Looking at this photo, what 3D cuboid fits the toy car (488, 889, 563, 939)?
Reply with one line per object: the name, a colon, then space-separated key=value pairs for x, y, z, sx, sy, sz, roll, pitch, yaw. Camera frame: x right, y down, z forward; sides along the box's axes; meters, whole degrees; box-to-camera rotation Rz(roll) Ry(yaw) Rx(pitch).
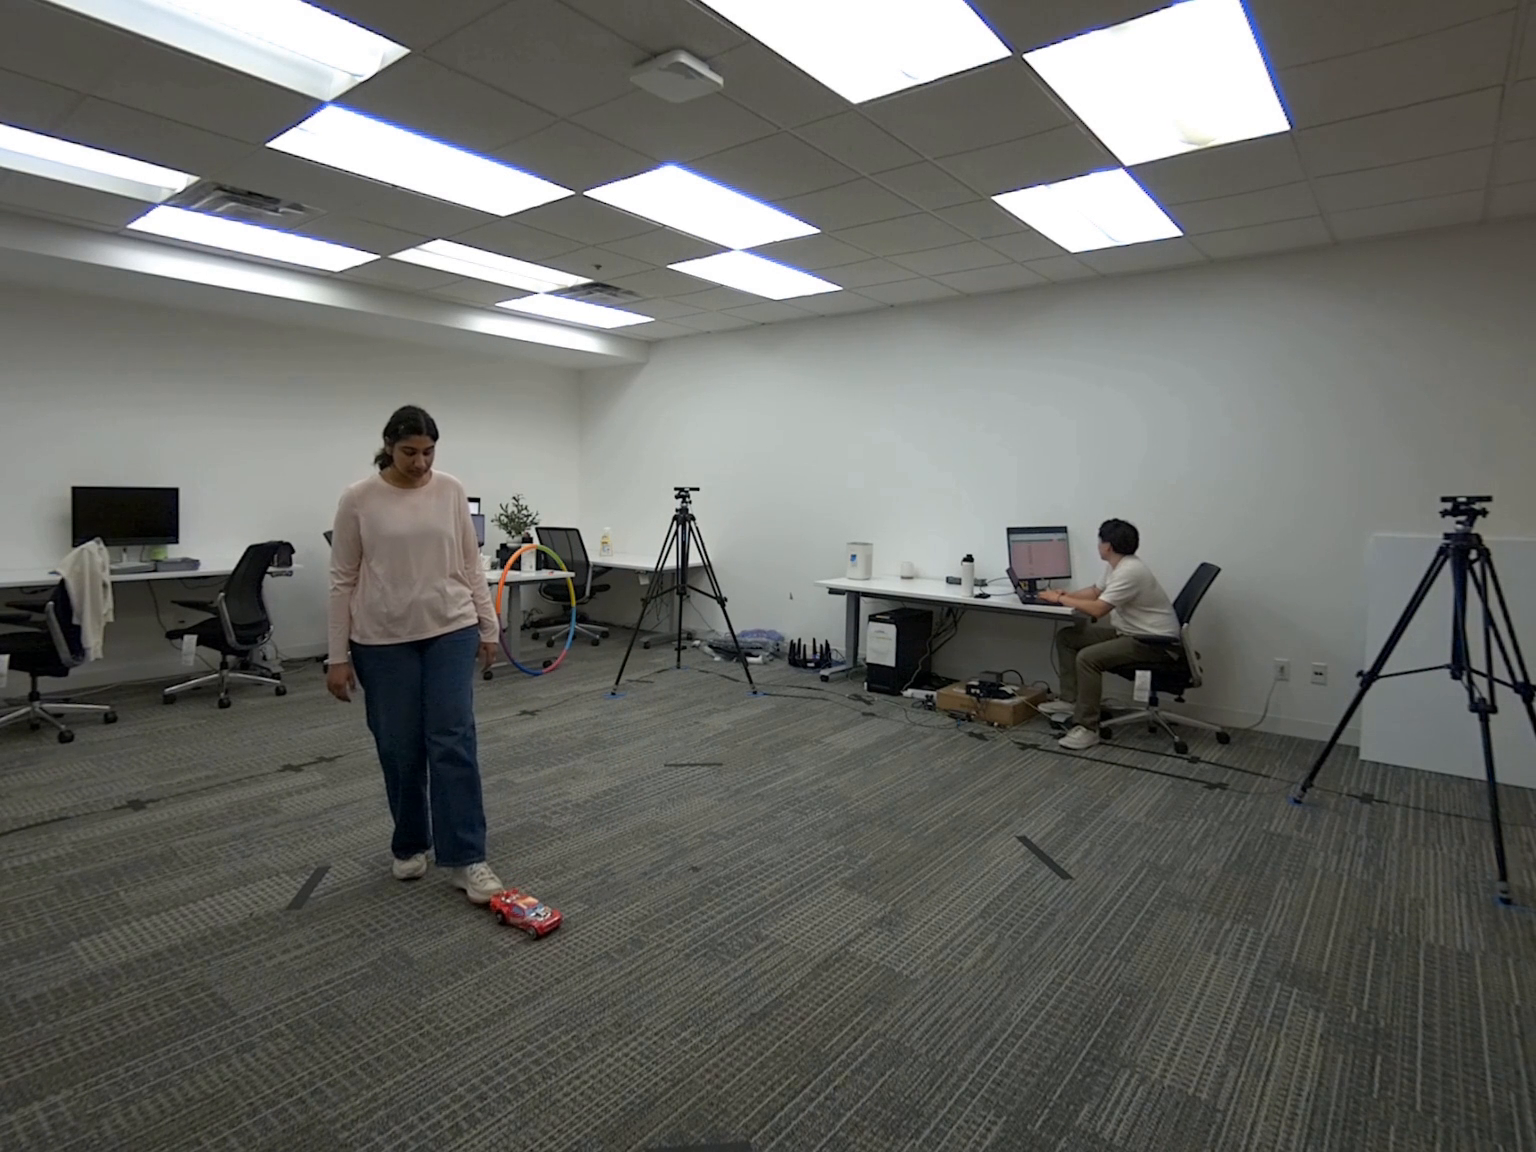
toy car: x=-0.783 y=1.066 z=2.695 sx=0.264 sy=0.082 sz=0.127 roll=18 pitch=14 yaw=32
